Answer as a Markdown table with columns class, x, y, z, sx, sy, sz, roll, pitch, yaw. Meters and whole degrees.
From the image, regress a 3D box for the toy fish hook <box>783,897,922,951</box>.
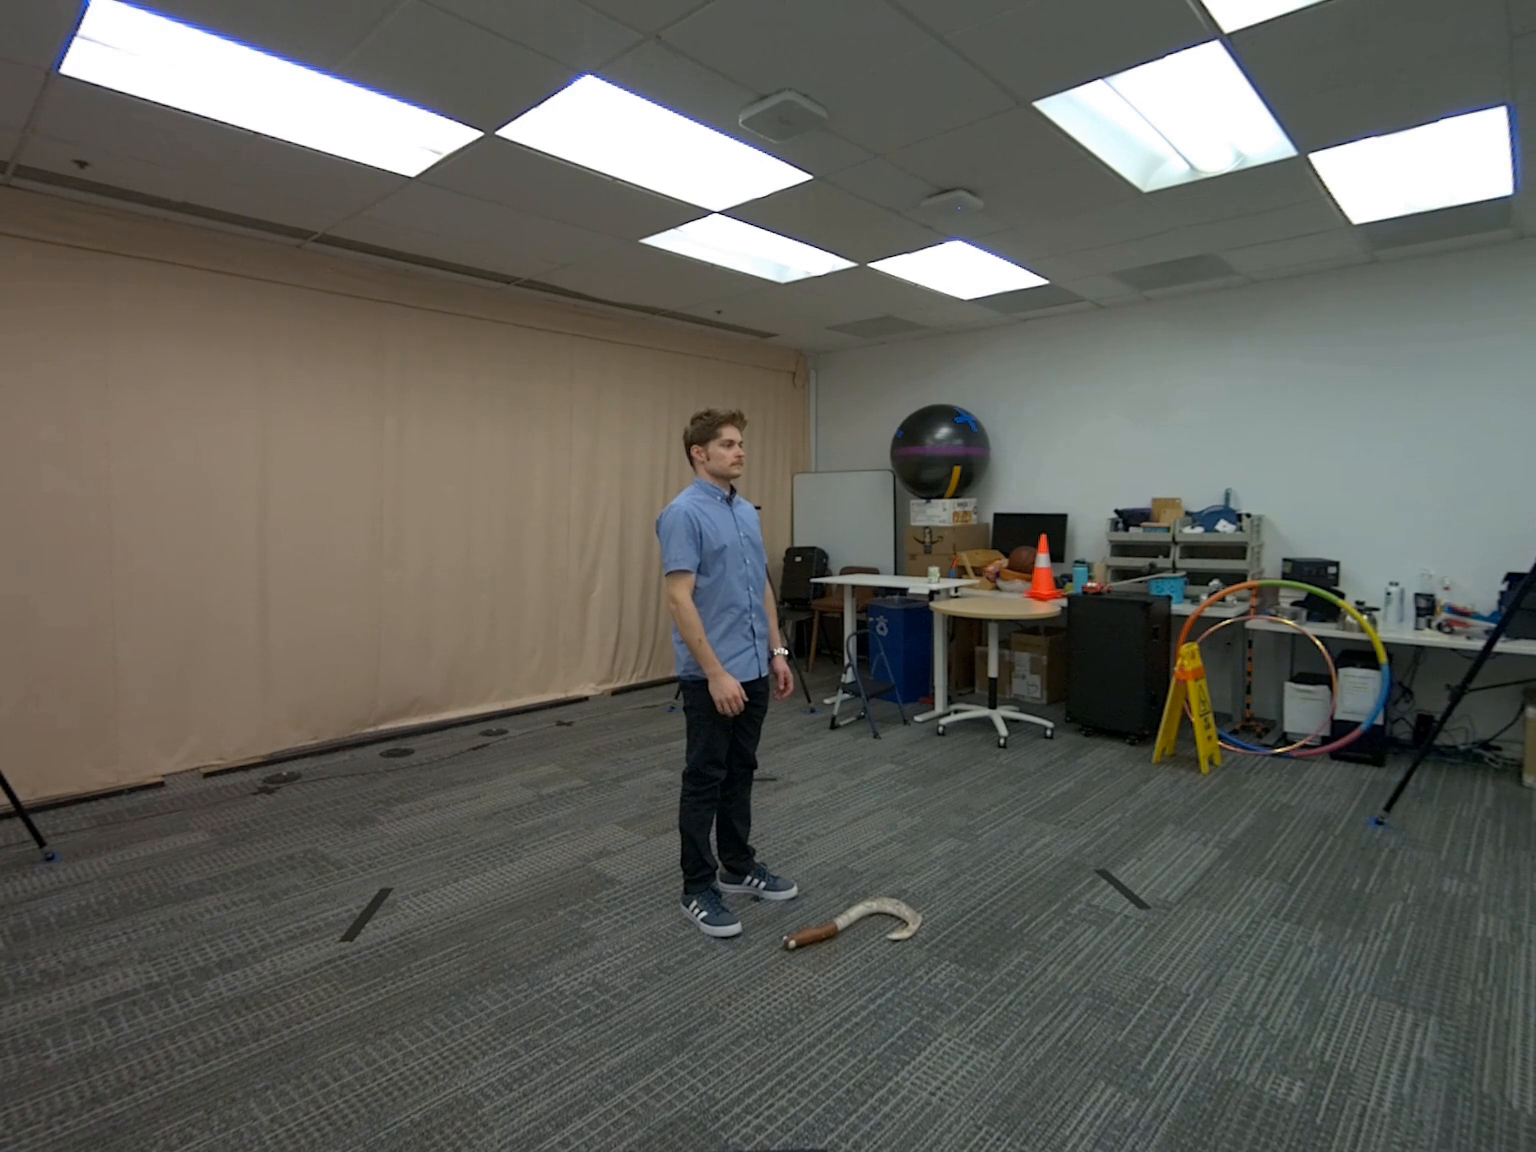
| class | x | y | z | sx | sy | sz | roll | pitch | yaw |
| --- | --- | --- | --- | --- | --- | --- | --- | --- | --- |
| toy fish hook | 0.288 | 1.143 | 2.727 | 0.492 | 0.048 | 0.231 | -4 | 5 | -34 |
